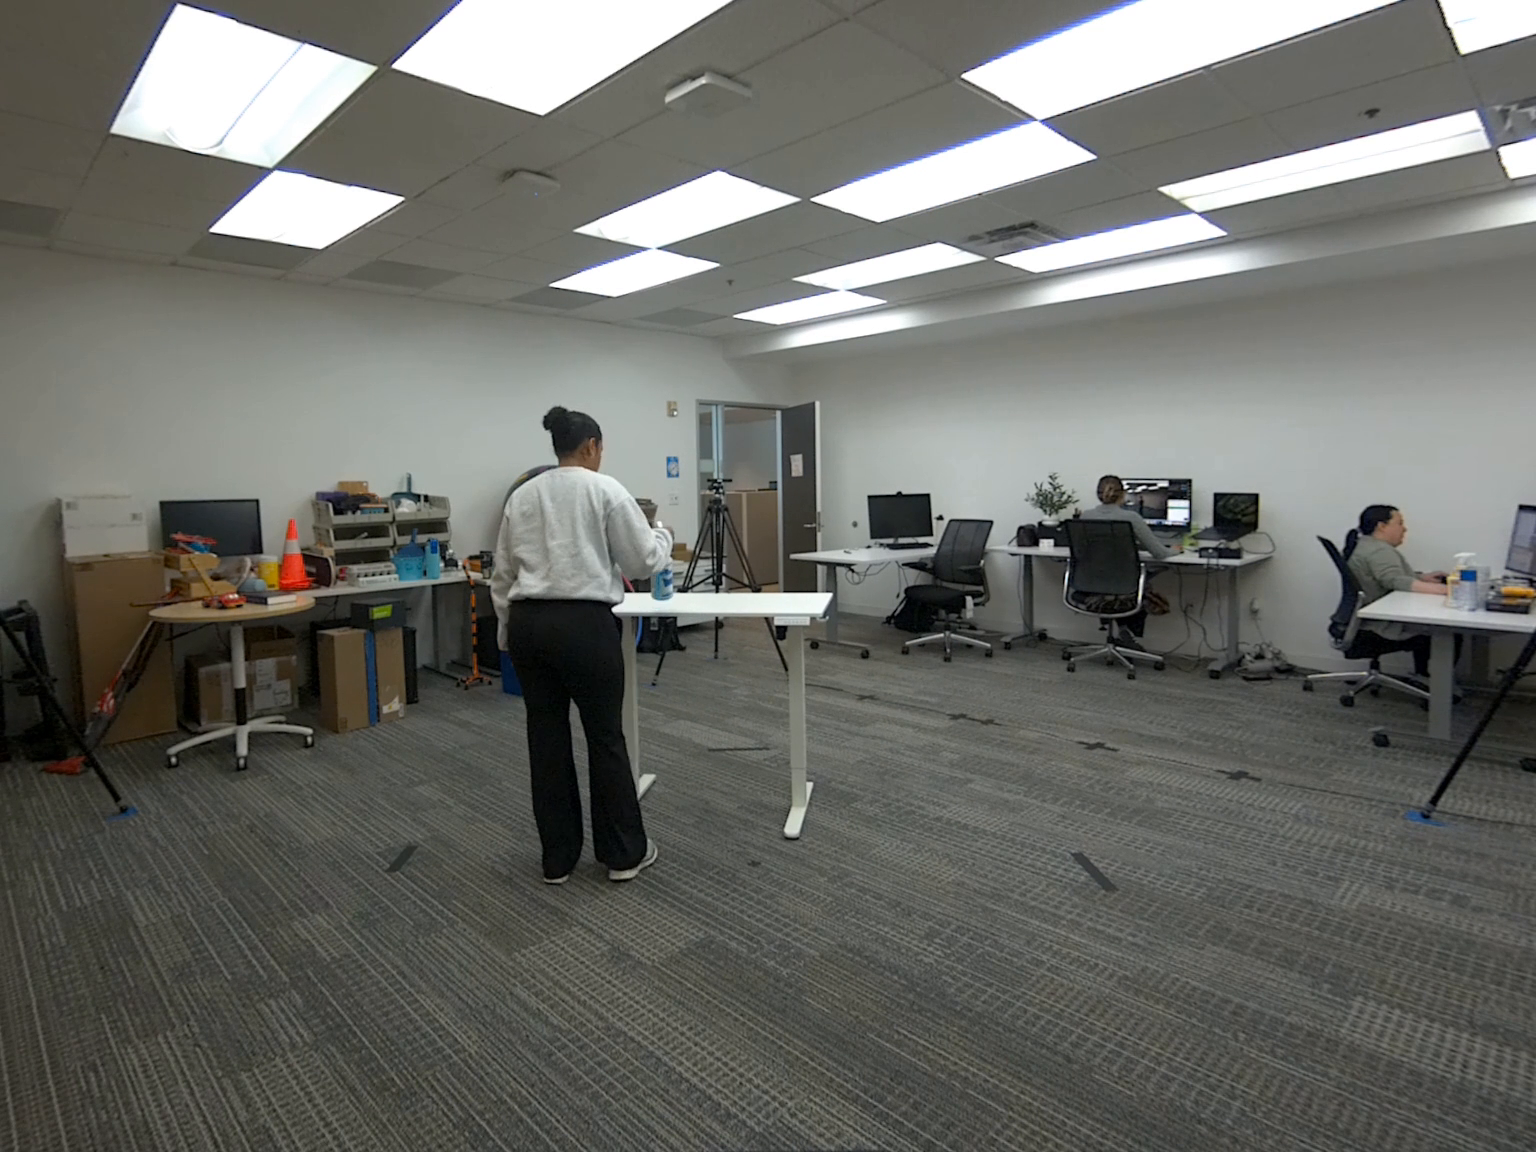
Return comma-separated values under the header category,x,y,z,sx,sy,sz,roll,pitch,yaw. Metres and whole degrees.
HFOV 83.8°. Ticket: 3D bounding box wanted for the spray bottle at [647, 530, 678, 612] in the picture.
category,x,y,z,sx,sy,sz,roll,pitch,yaw
spray bottle,-0.409,-0.025,3.297,0.088,0.292,0.090,7,20,14
